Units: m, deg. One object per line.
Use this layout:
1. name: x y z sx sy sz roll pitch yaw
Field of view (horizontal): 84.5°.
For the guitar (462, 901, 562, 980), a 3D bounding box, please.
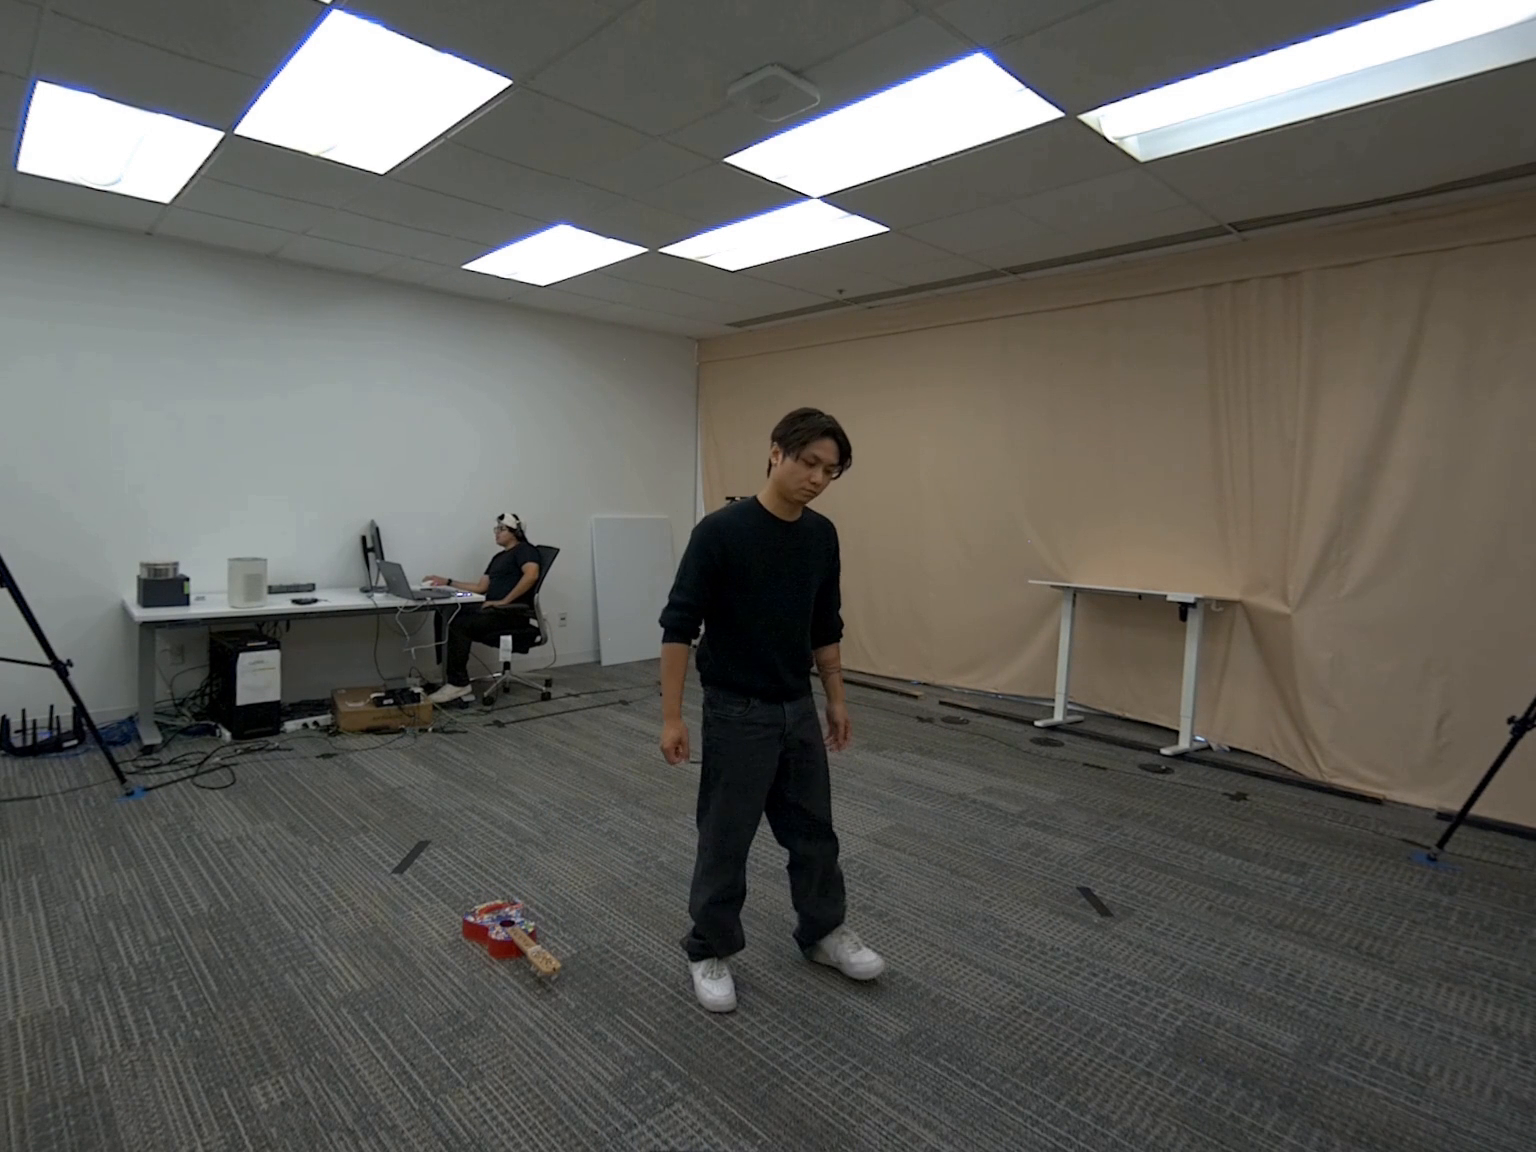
1. guitar: -0.792 1.117 2.534 0.189 0.070 0.509 -2 6 -31
